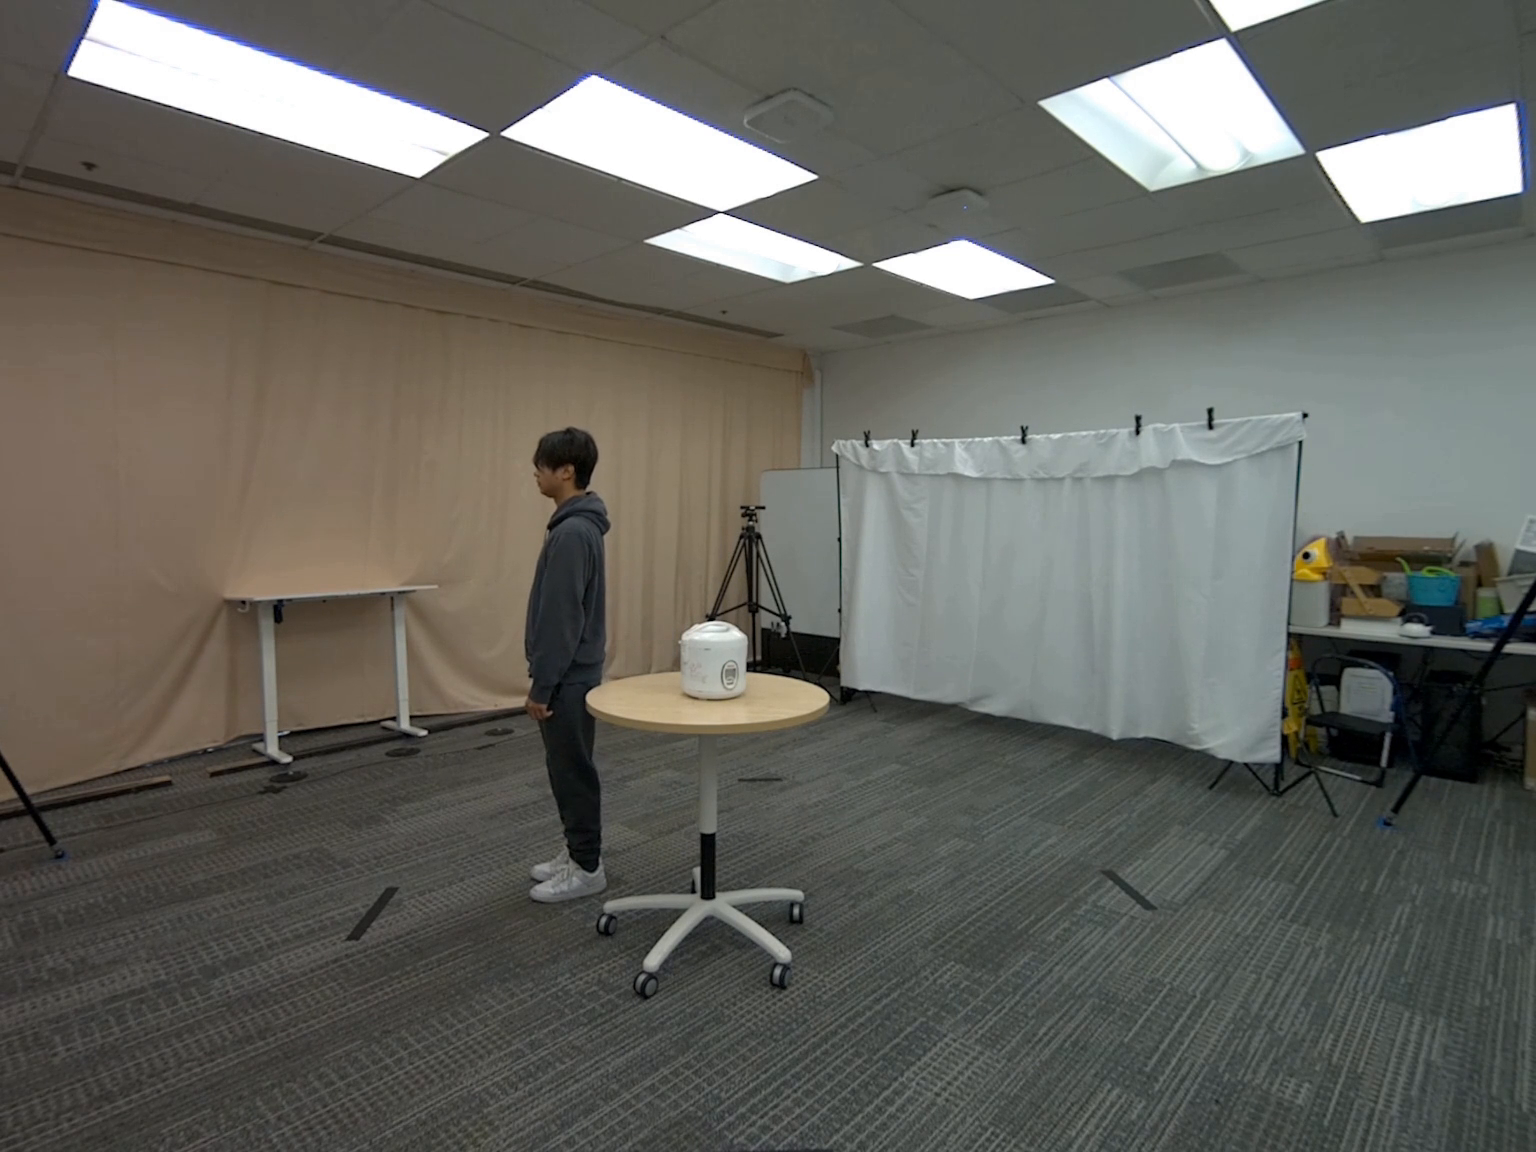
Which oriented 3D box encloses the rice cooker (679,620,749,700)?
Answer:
[{"bbox_3d":[-0.167,0.260,2.654,0.215,0.232,0.224,-2,3,-31],"label":"rice cooker"}]
